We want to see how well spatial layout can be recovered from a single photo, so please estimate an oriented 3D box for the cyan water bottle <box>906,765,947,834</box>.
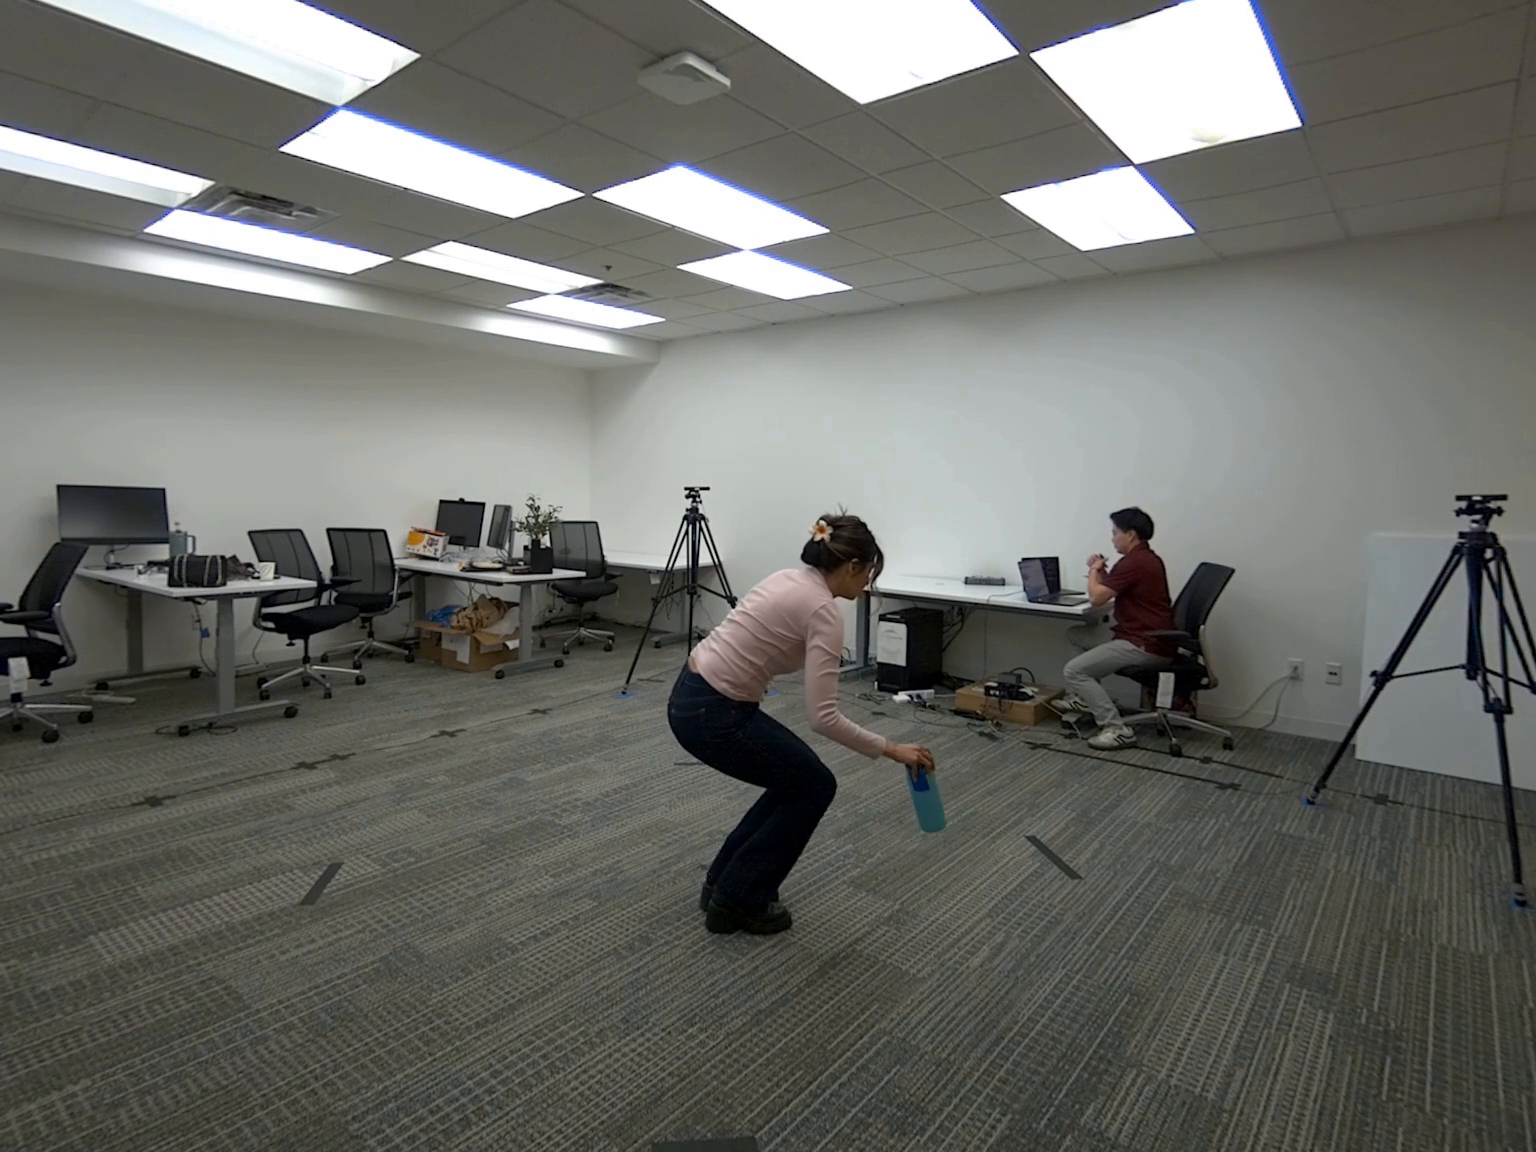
[{"bbox_3d":[0.477,0.668,2.623,0.093,0.276,0.094,-14,22,4],"label":"cyan water bottle"}]
